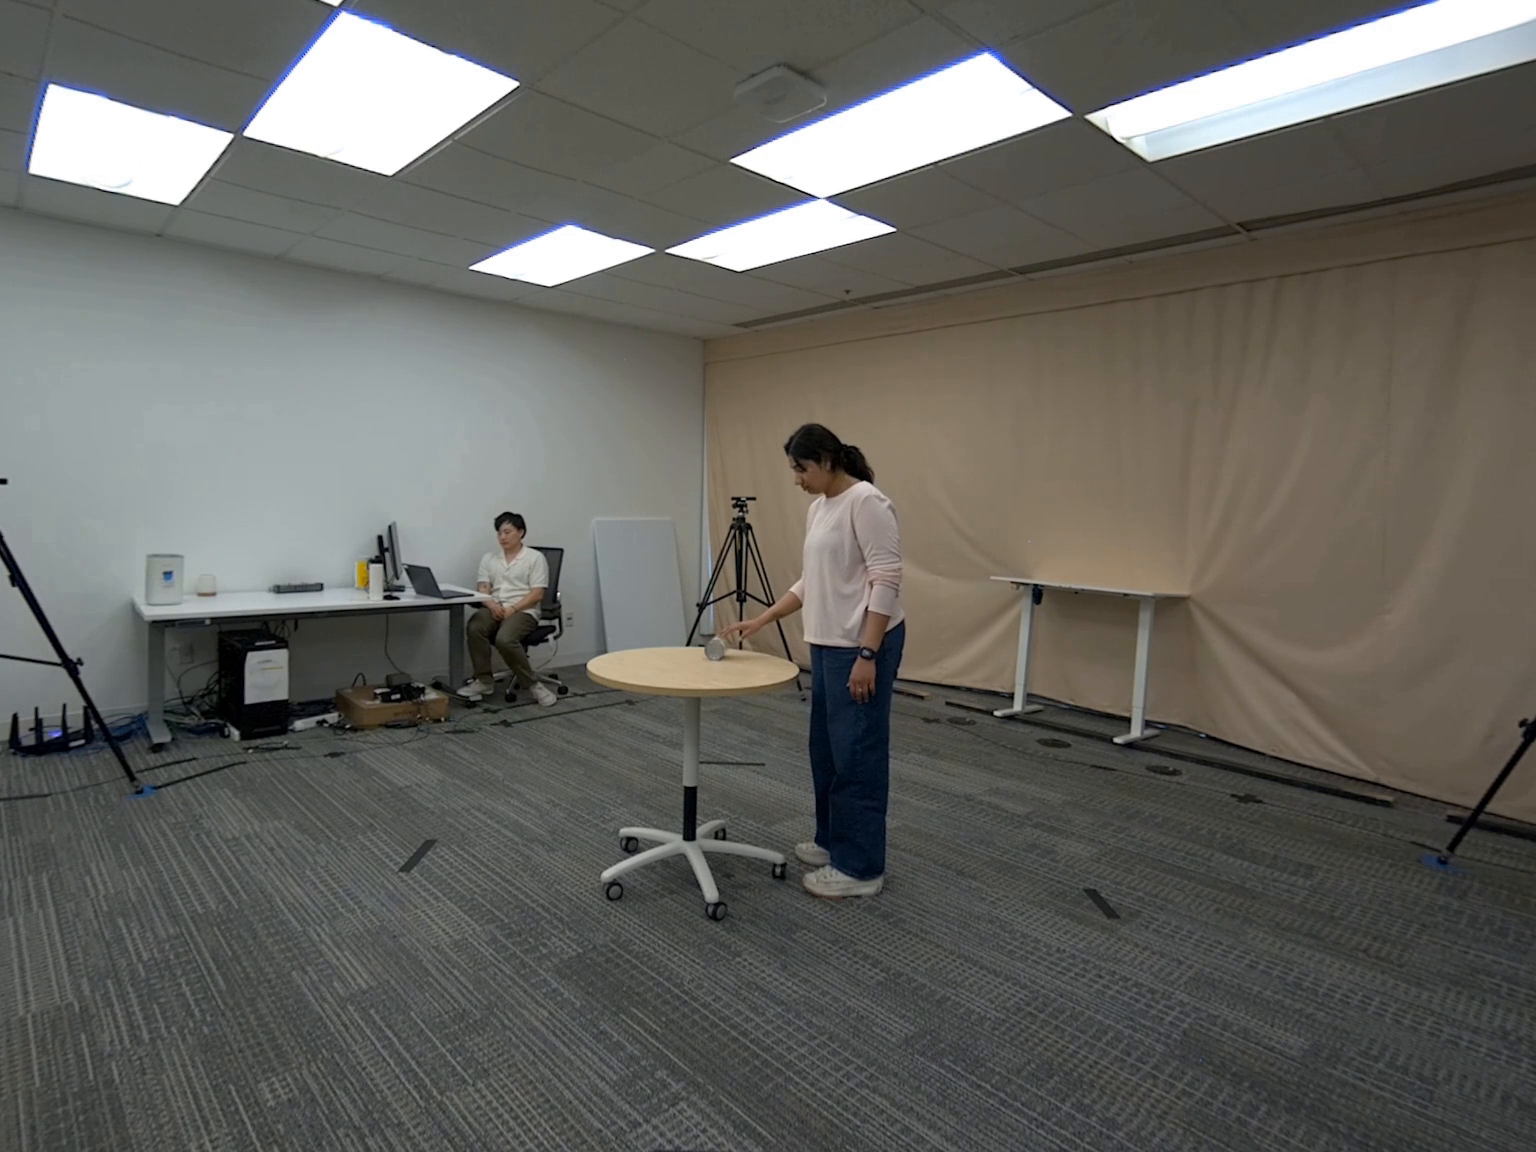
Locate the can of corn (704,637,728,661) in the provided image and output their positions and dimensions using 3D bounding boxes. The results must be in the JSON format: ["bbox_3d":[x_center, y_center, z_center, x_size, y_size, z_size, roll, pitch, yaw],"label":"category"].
[{"bbox_3d":[-0.199,0.272,3.209,0.074,0.074,0.111,1,4,1],"label":"can of corn"}]
